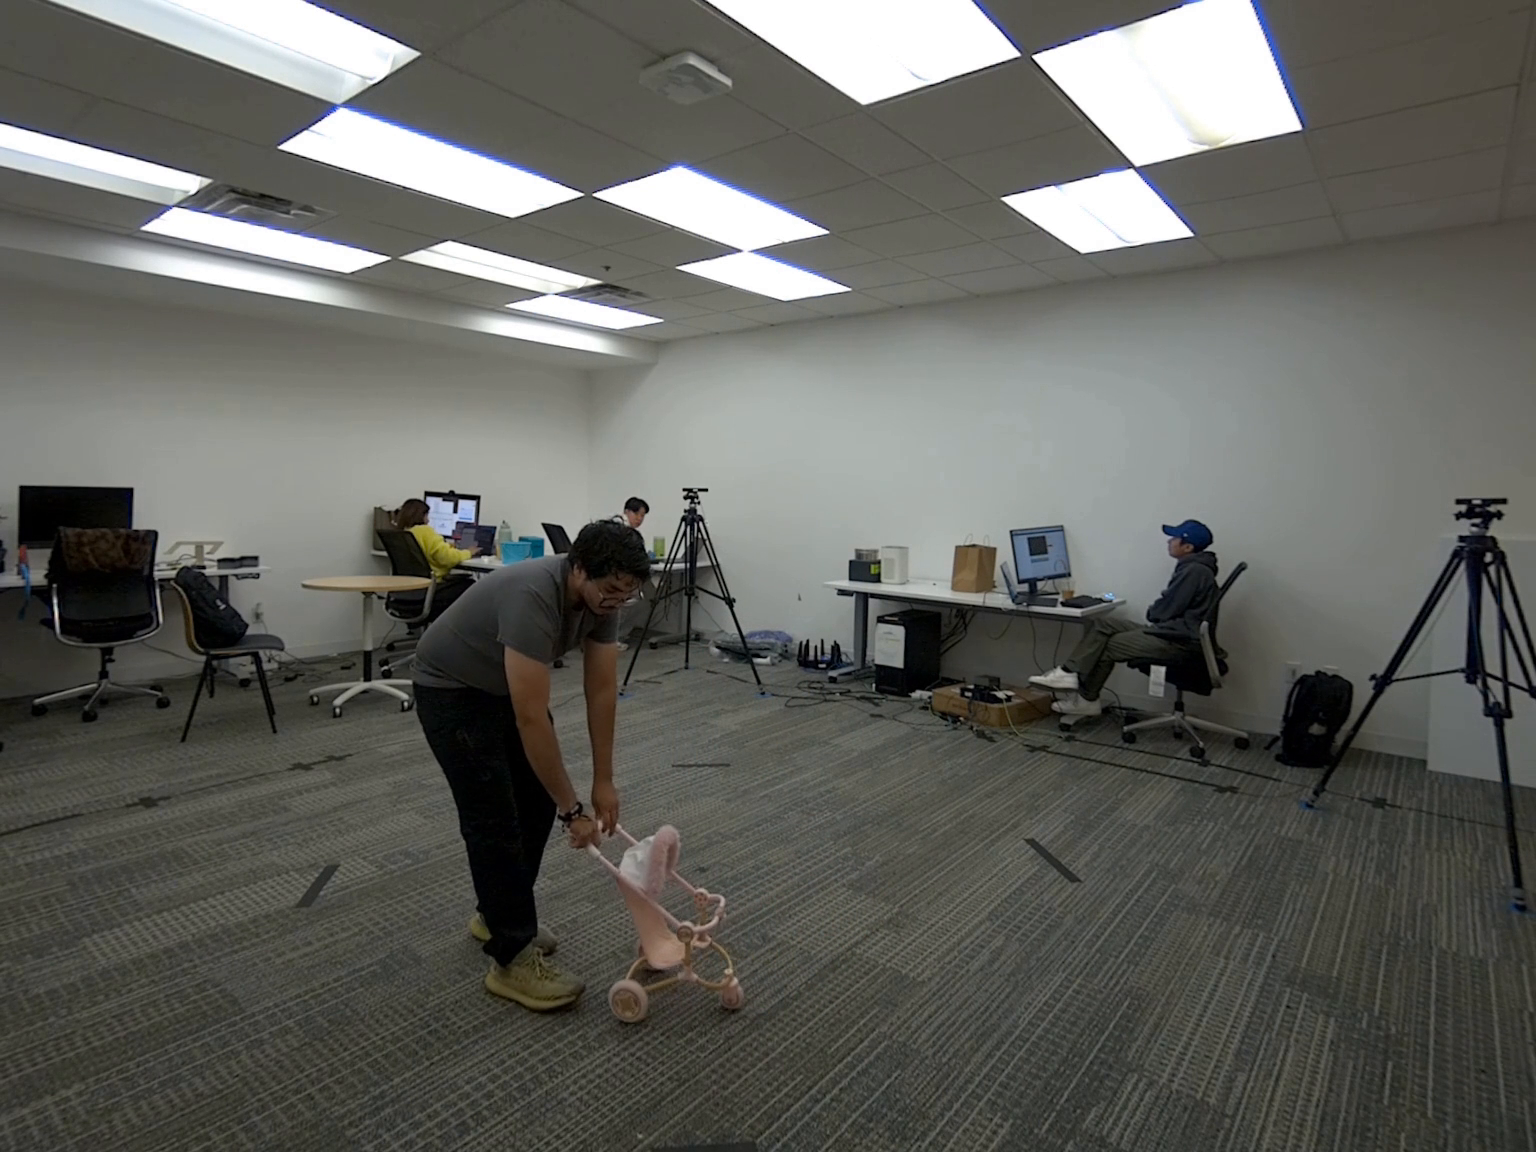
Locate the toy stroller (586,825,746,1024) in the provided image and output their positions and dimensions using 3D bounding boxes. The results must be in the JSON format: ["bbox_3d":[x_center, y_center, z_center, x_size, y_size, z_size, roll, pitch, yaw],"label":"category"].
[{"bbox_3d":[-0.280,0.924,2.299,0.346,0.535,0.278,-12,0,15],"label":"toy stroller"}]
